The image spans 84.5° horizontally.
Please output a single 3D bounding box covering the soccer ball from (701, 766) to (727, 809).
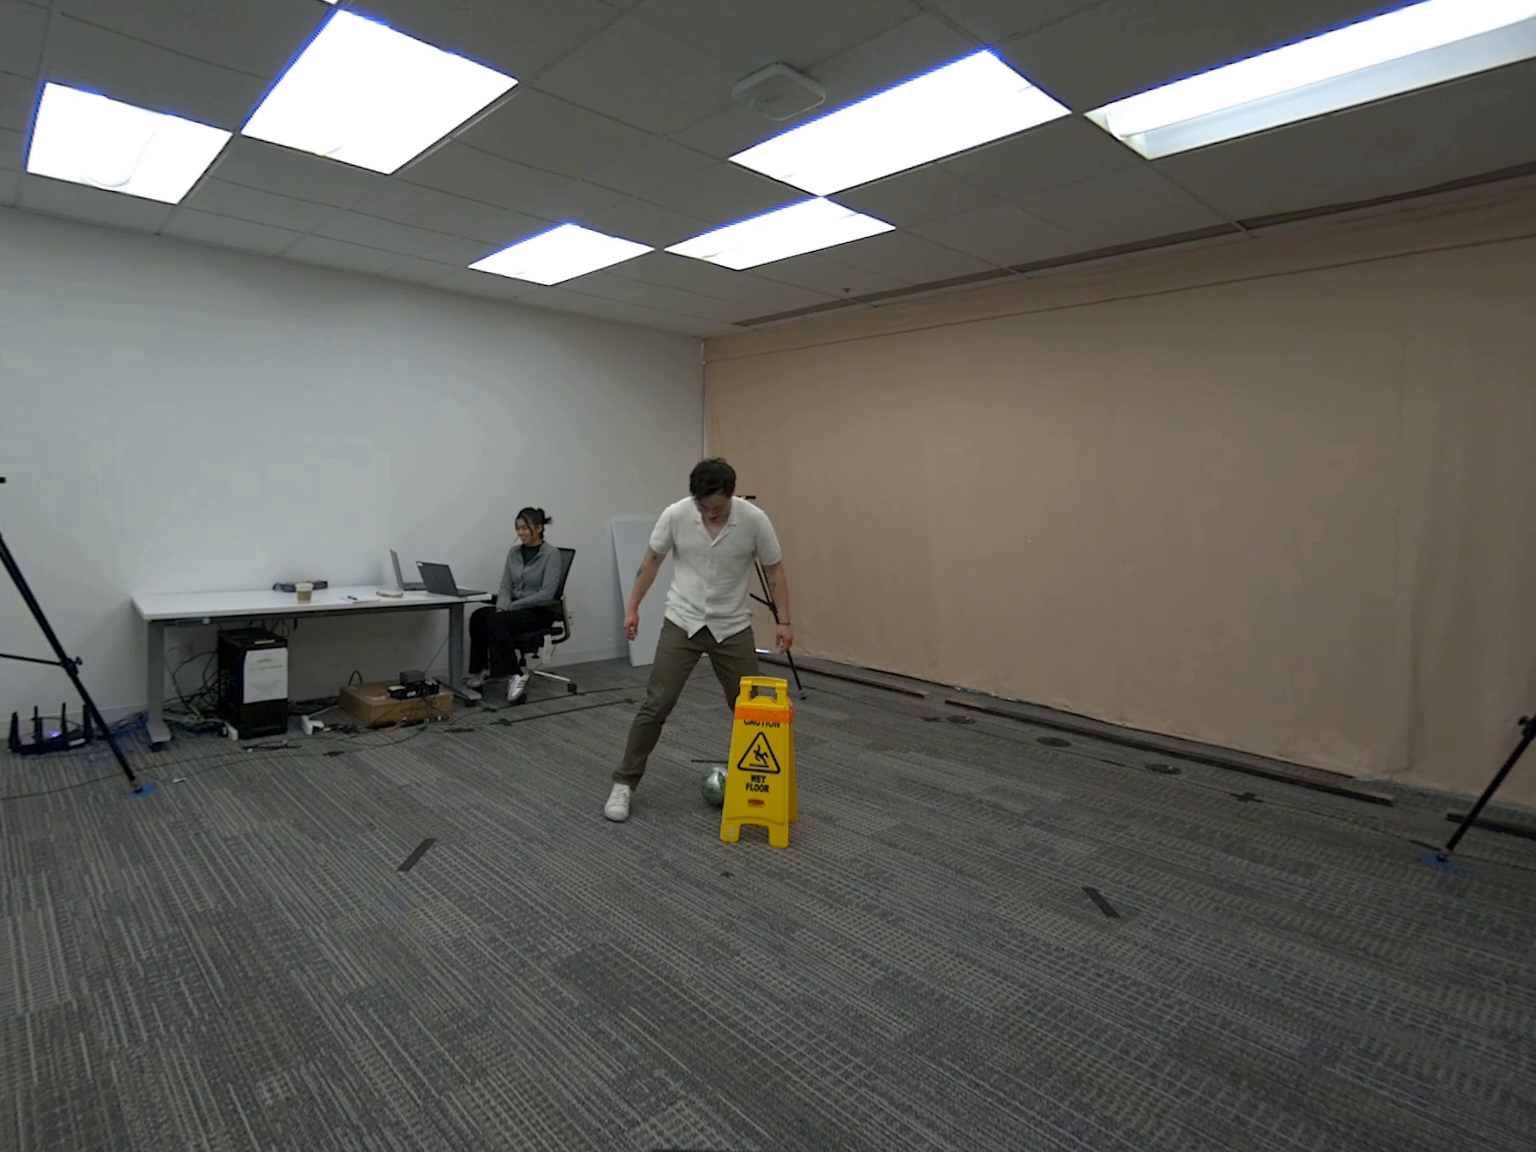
[{"bbox_3d":[-0.224,0.947,3.794,0.187,0.187,0.188,1,4,-1],"label":"soccer ball"}]
